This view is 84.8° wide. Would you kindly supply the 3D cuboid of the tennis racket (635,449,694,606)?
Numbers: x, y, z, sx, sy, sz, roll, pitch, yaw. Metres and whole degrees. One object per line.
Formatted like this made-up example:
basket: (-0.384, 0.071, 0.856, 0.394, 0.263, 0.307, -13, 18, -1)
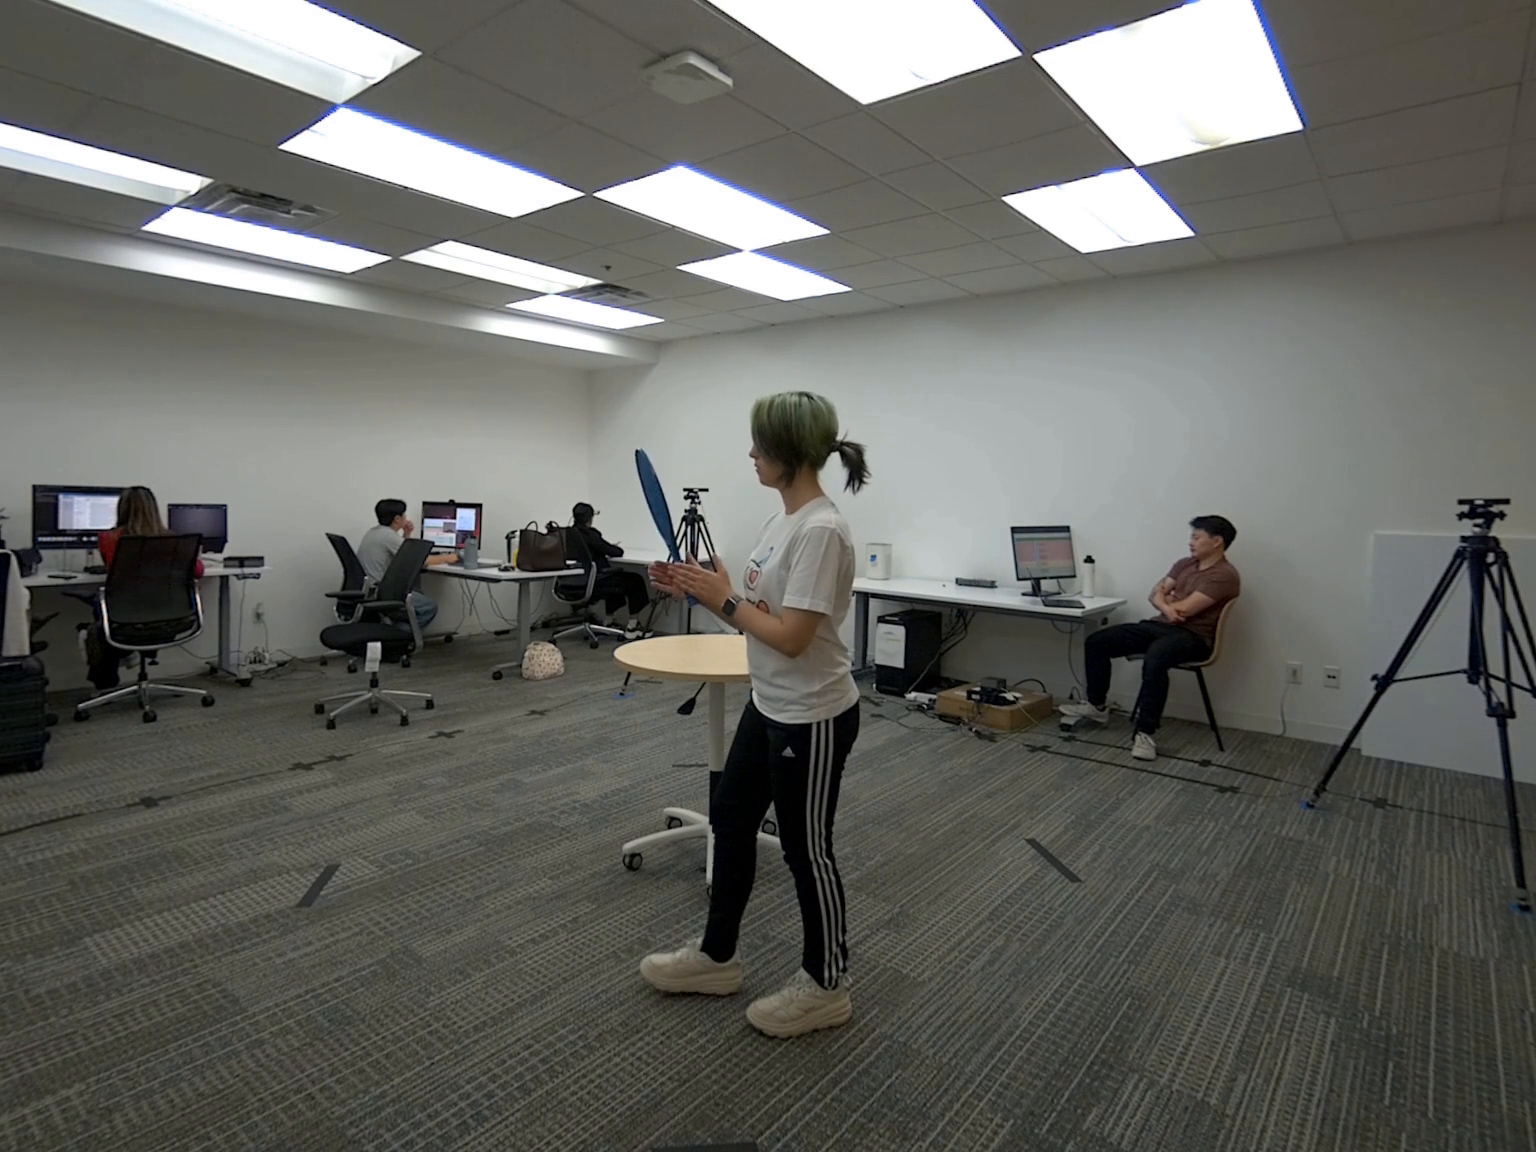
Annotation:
tennis racket: (-0.273, -0.130, 2.222, 0.031, 0.432, 0.217, -18, 3, -17)
